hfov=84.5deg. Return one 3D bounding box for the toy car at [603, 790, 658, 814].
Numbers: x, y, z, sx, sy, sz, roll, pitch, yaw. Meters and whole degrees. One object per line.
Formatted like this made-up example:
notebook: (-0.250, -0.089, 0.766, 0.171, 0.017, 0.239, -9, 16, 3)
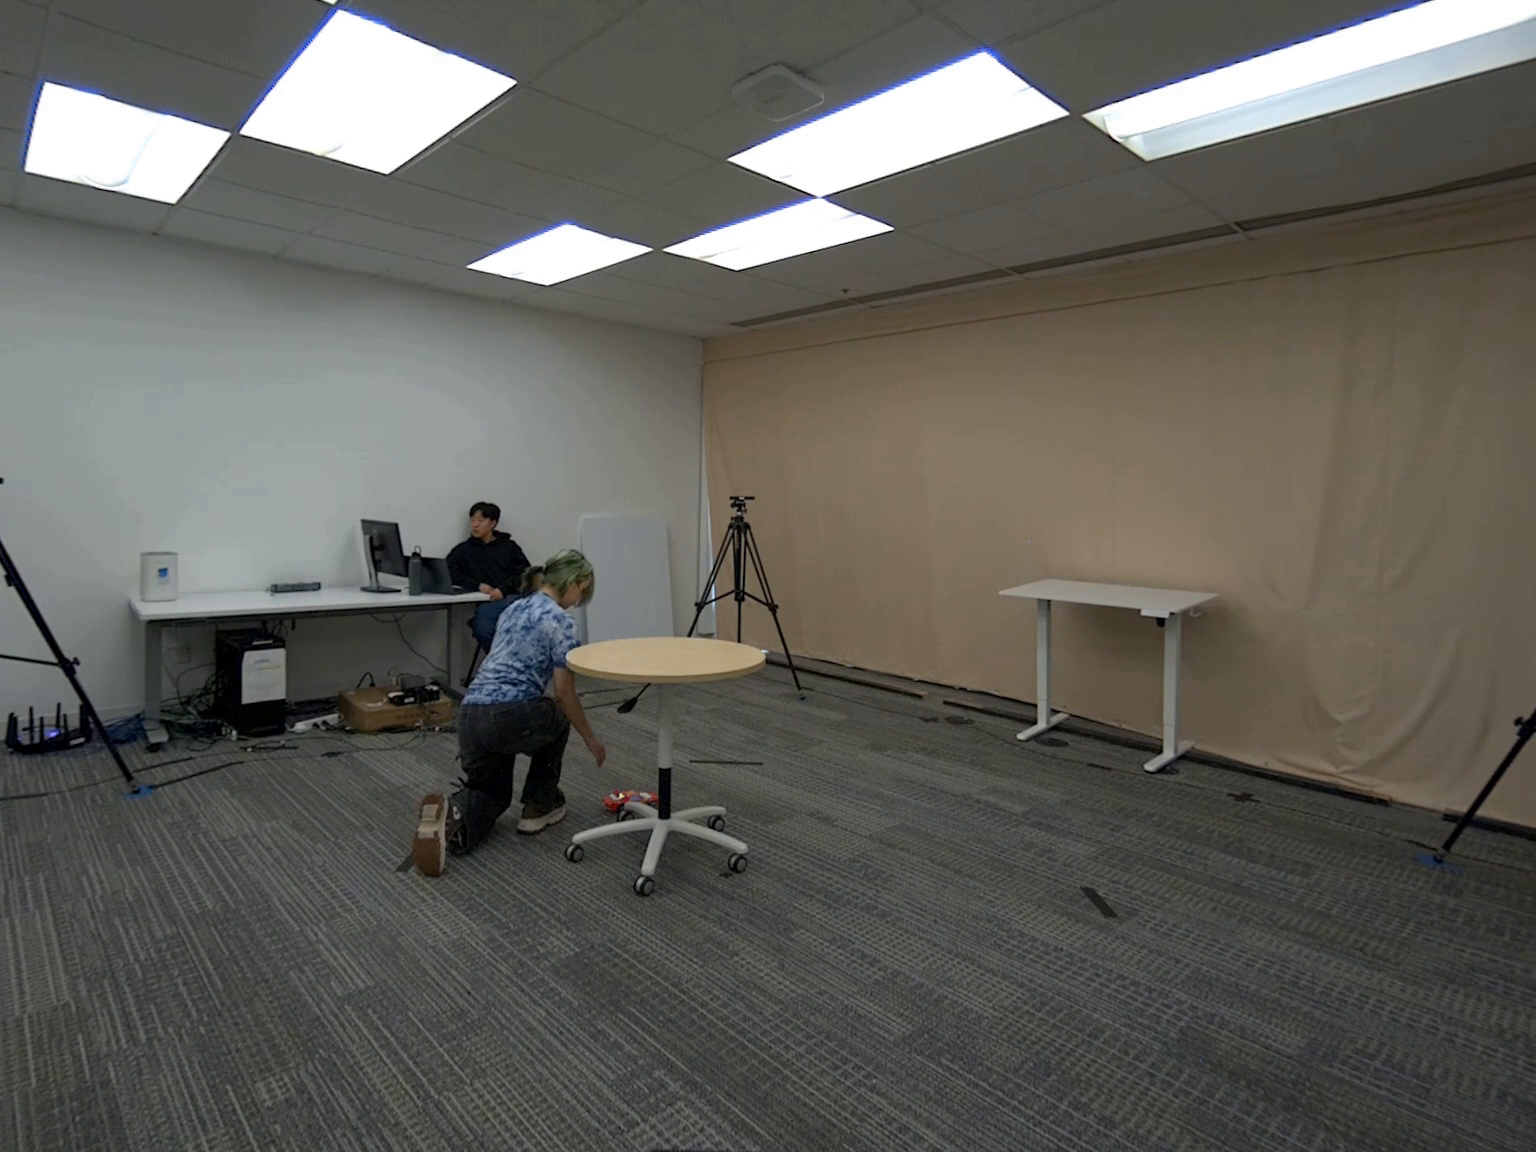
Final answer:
toy car: (-0.626, 1.004, 3.744, 0.249, 0.083, 0.133, 12, -2, -27)
